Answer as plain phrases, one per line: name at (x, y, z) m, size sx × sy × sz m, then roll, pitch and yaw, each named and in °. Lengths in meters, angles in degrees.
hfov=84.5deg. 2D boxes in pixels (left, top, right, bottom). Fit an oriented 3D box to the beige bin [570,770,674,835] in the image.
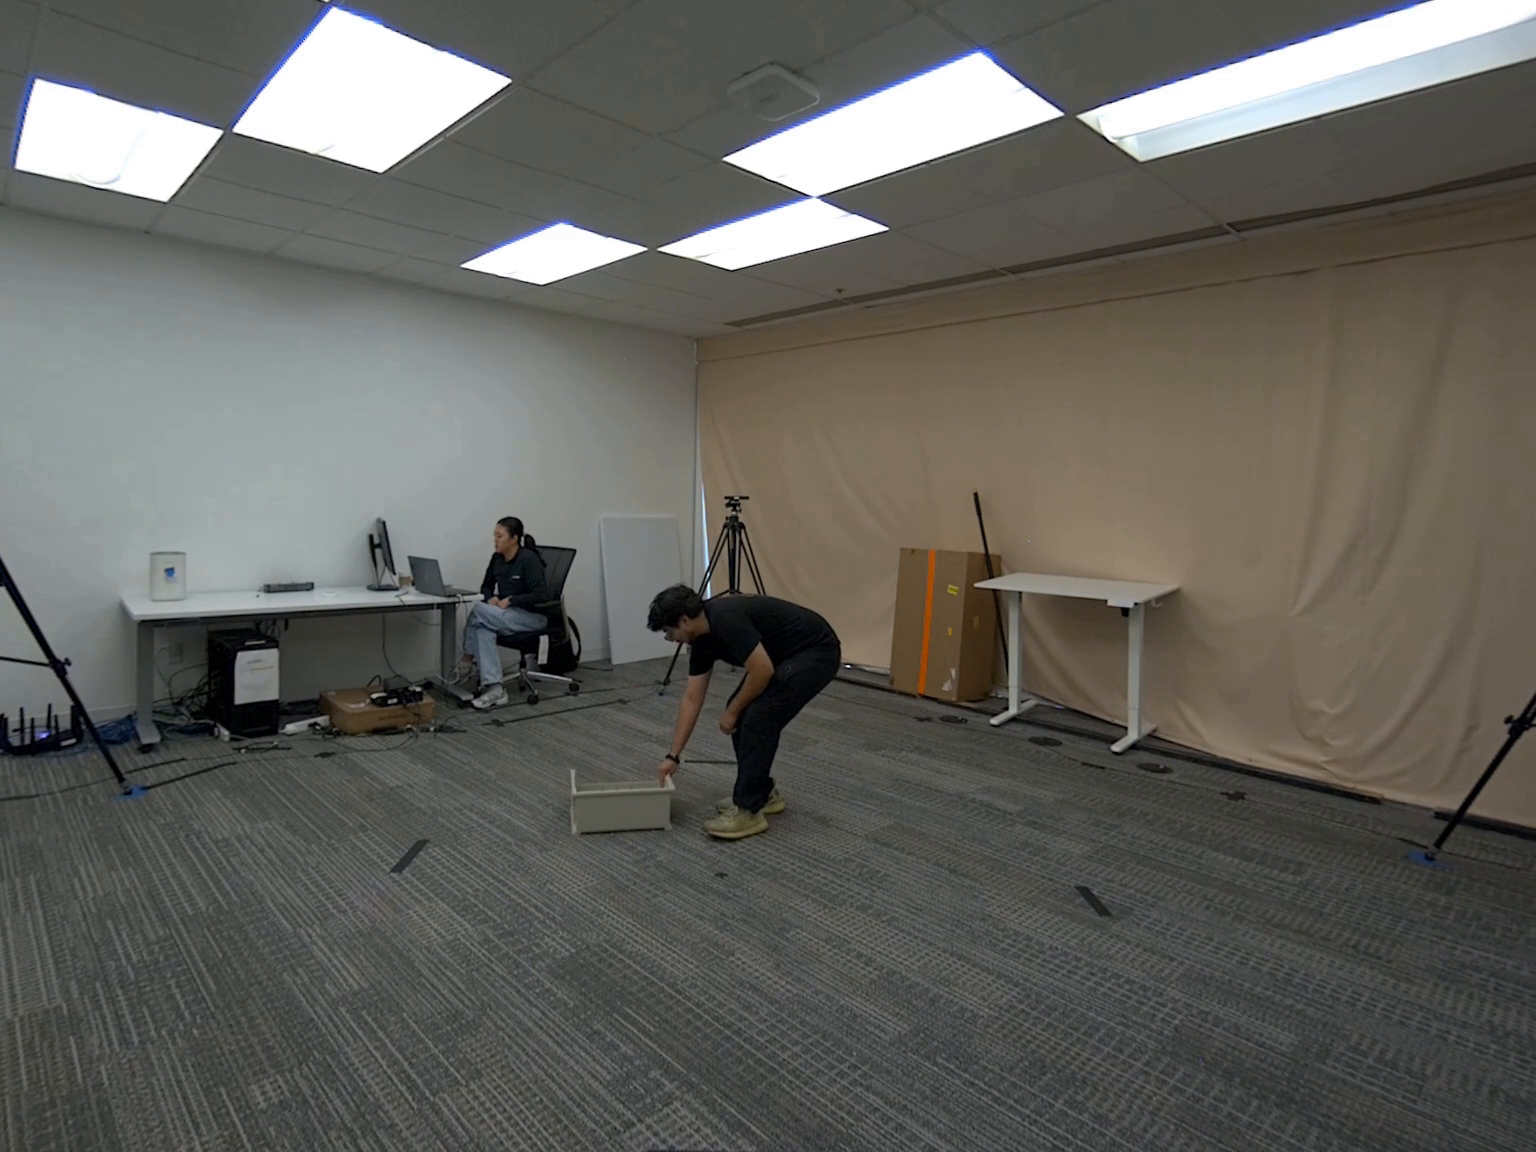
beige bin at (-0.649, 0.955, 3.643) m, size 0.418 × 0.188 × 0.383 m, roll 1°, pitch 6°, yaw -14°
